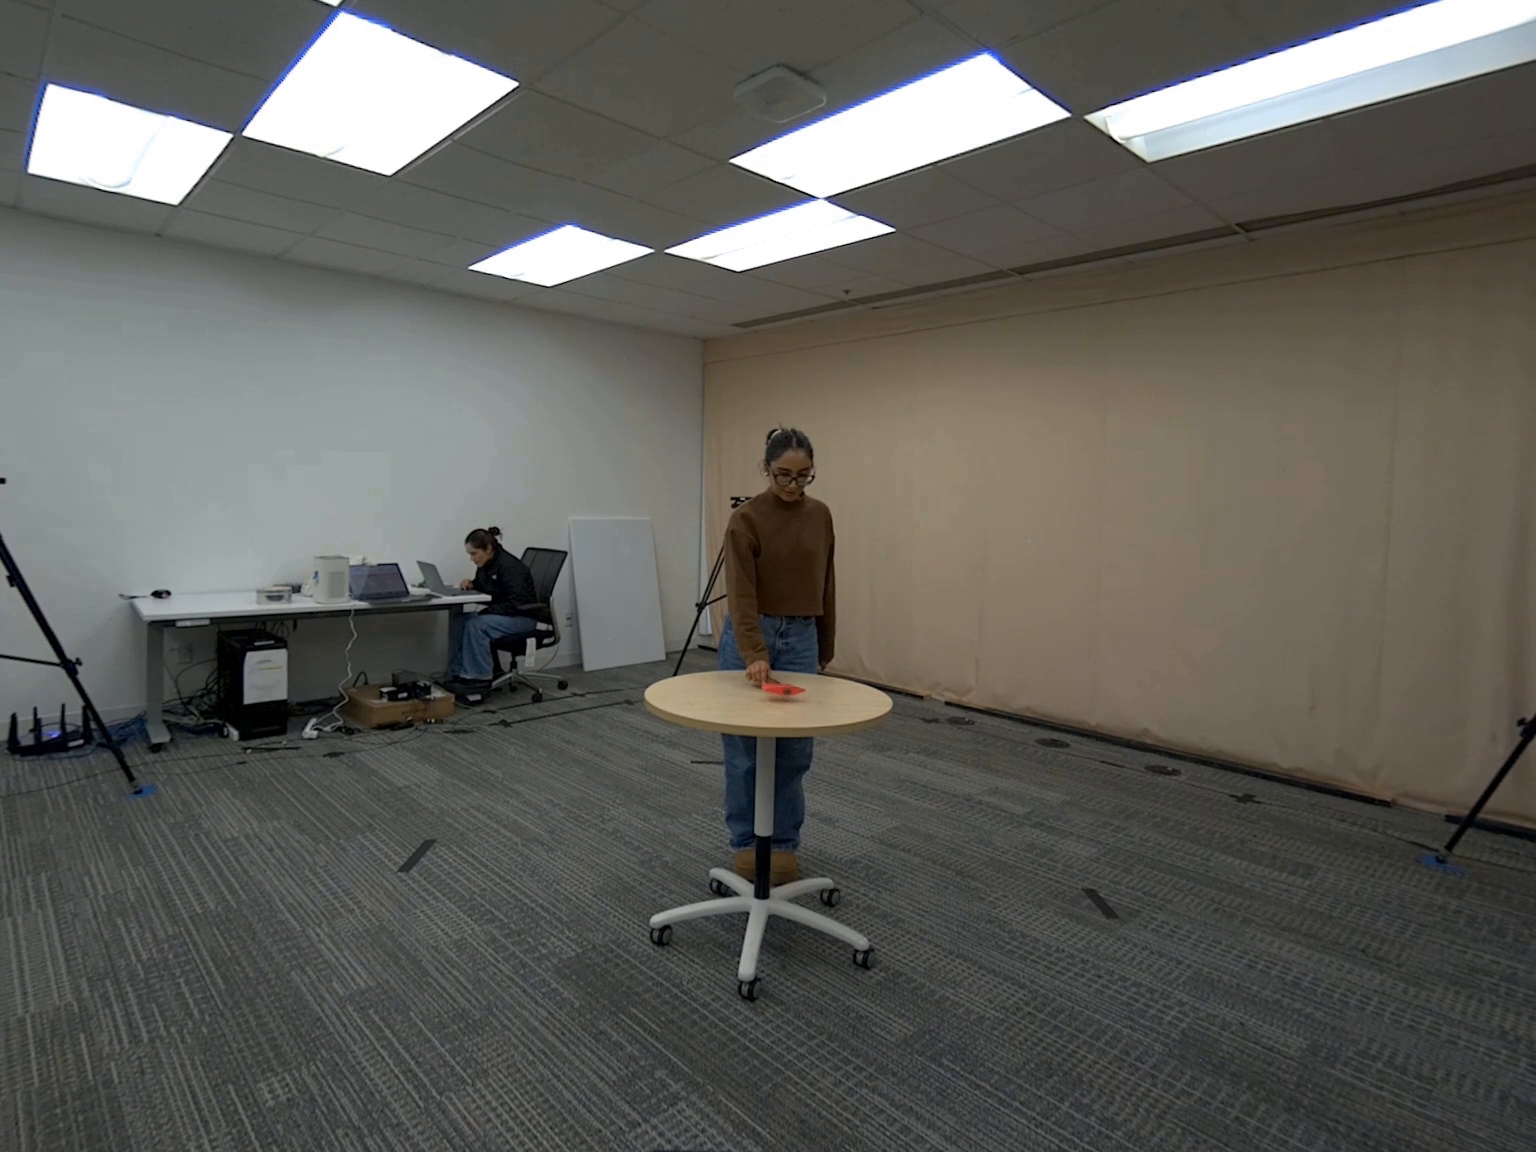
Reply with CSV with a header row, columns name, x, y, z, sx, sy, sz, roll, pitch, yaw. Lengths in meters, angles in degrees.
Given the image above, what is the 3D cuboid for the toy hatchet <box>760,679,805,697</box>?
name,x,y,z,sx,sy,sz,roll,pitch,yaw
toy hatchet,0.019,0.344,2.643,0.130,0.029,0.272,3,4,-8
